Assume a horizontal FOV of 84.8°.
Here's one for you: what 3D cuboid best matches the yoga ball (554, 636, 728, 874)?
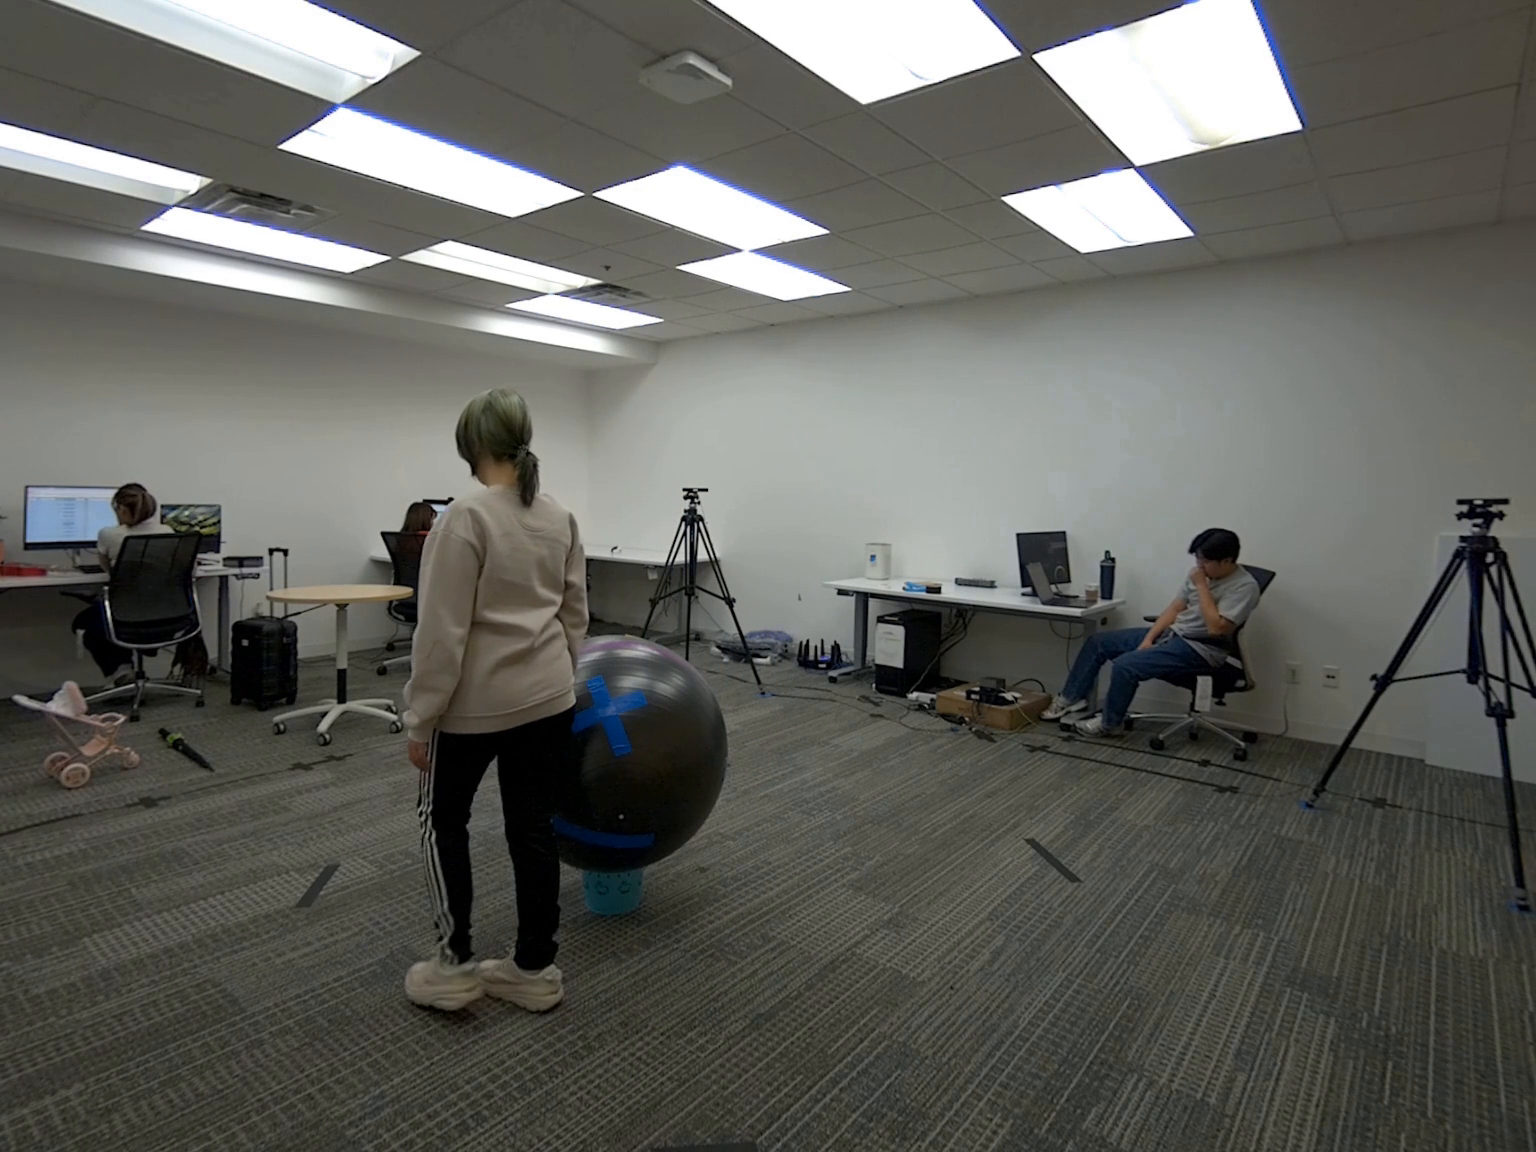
[{"bbox_3d":[-0.521,0.581,2.830,0.757,0.755,0.762,1,4,-2],"label":"yoga ball"}]
